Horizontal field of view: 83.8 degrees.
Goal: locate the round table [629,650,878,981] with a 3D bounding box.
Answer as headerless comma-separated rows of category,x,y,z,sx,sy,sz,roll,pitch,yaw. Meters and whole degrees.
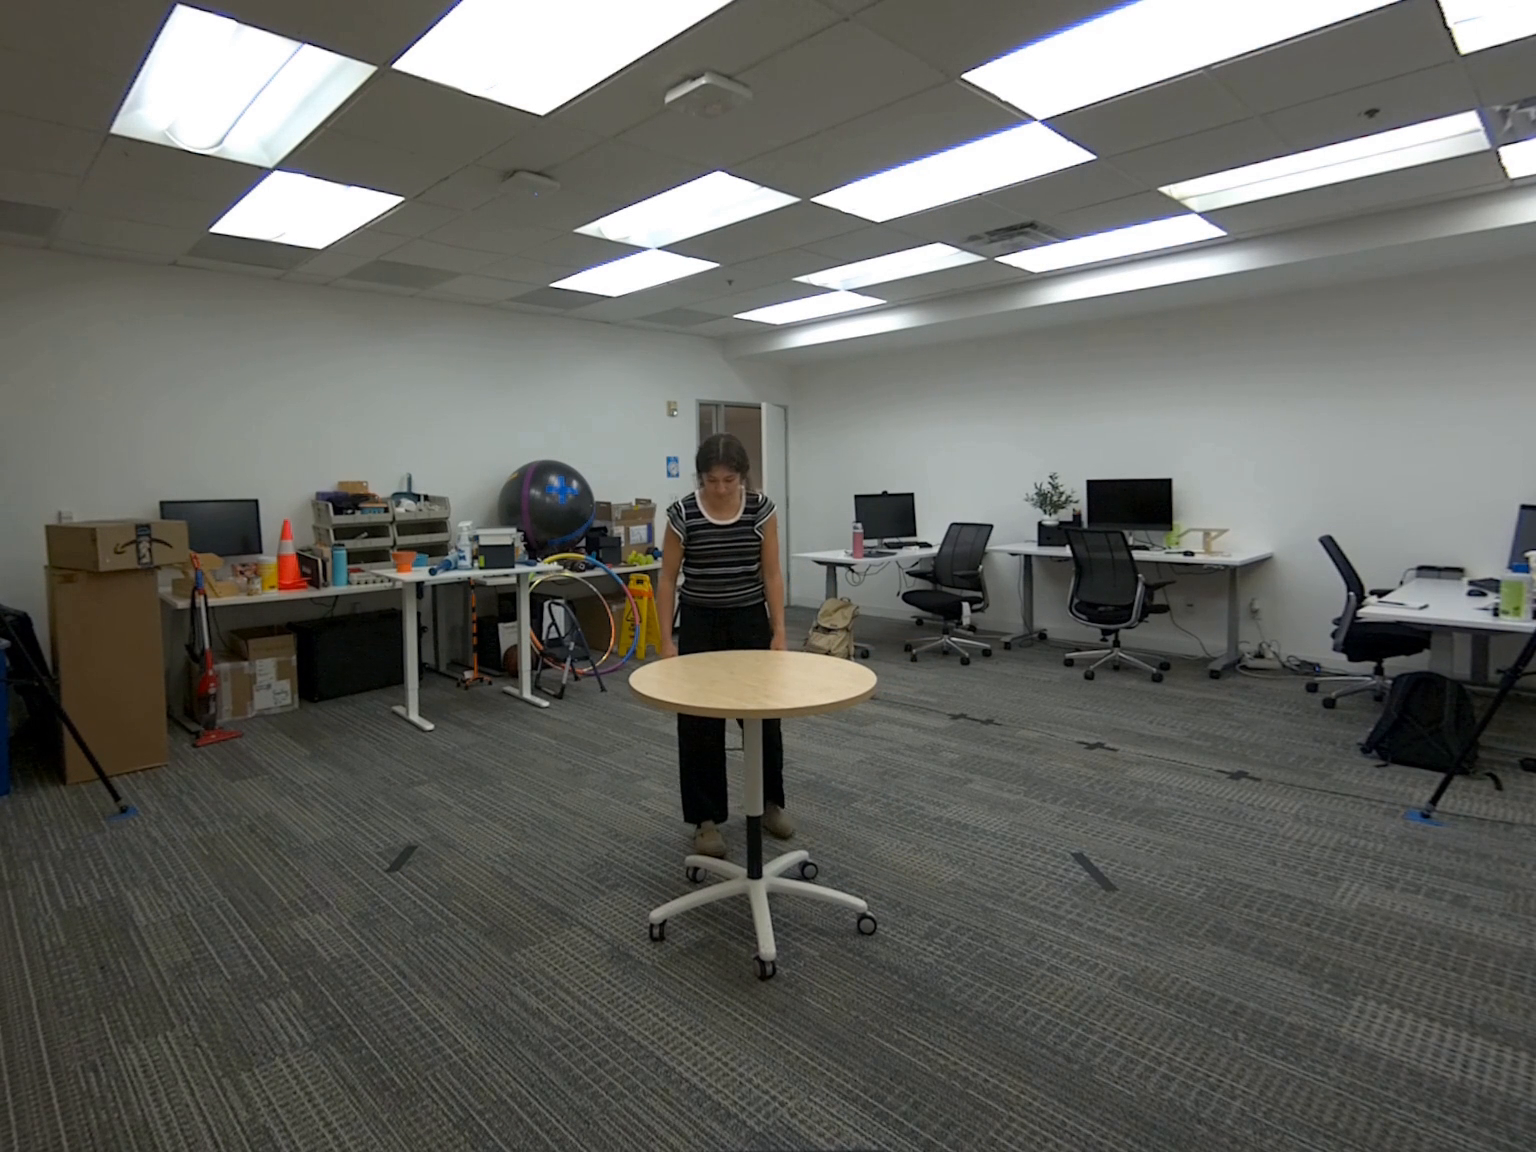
round table,-0.058,0.703,2.686,0.784,0.783,0.789,-1,5,-2
